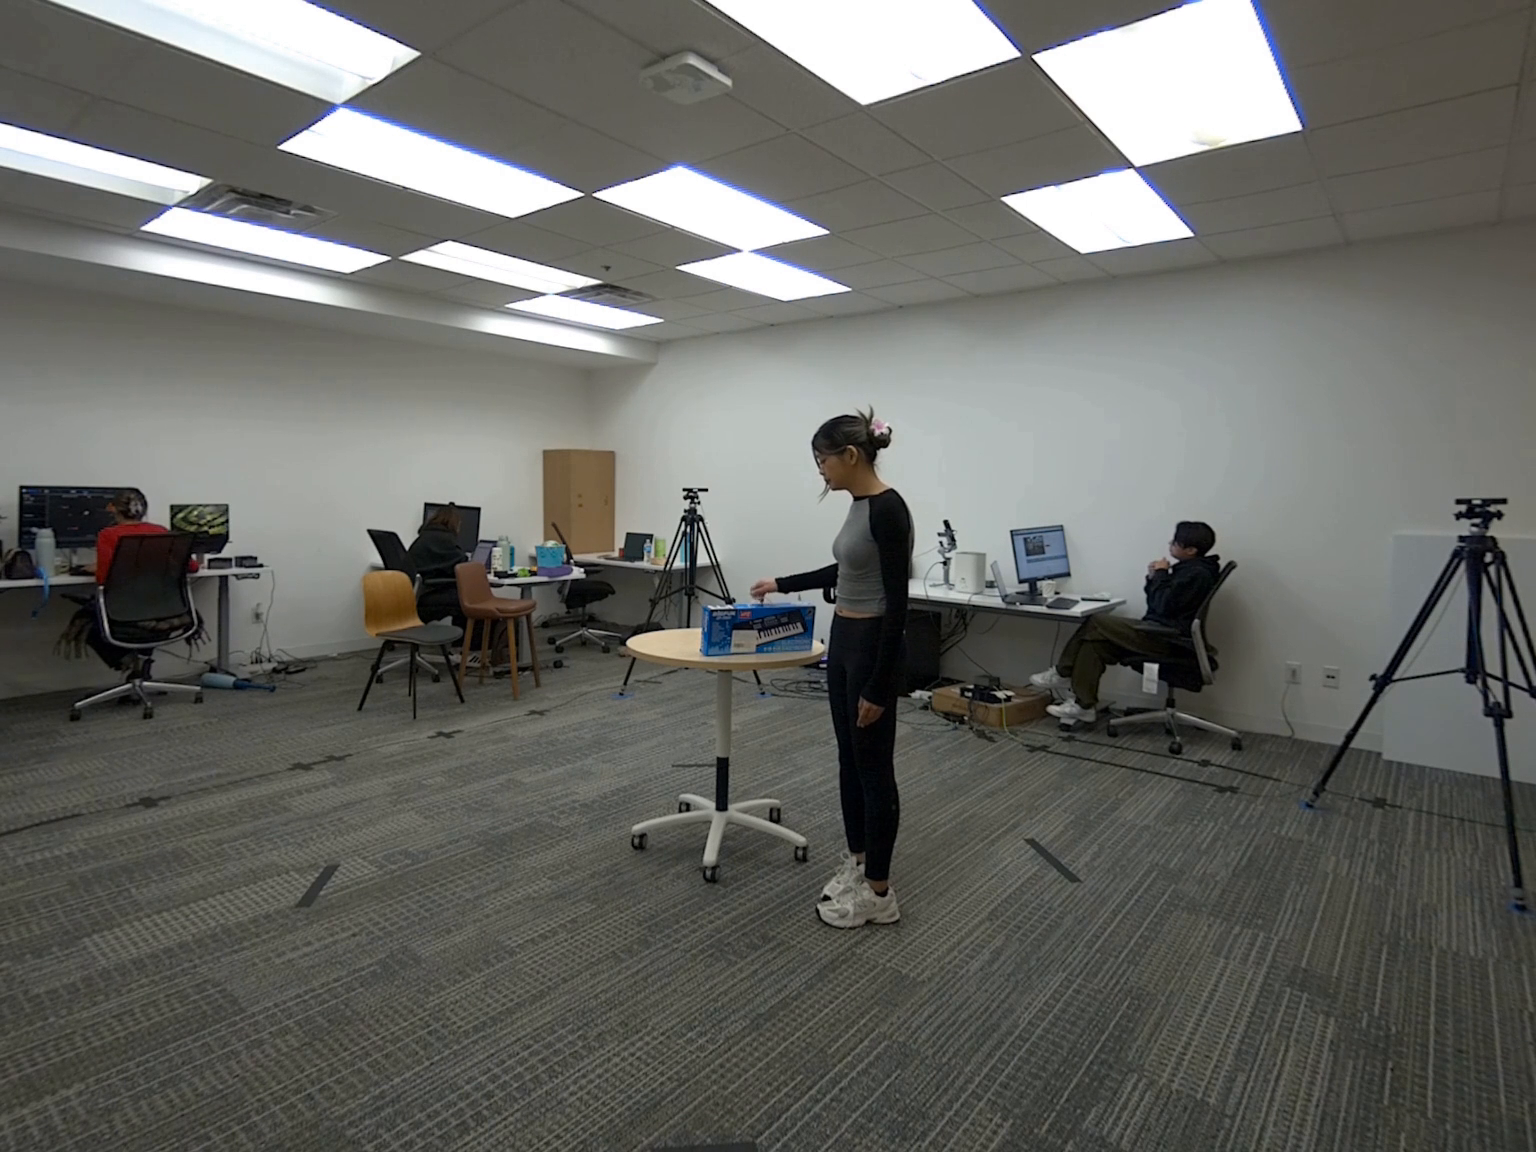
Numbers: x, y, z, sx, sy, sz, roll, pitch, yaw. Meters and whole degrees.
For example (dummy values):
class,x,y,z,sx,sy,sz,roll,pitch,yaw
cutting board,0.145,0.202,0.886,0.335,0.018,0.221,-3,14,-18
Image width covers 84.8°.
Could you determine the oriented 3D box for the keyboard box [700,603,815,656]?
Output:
class,x,y,z,sx,sy,sz,roll,pitch,yaw
keyboard box,-0.040,0.192,3.109,0.426,0.175,0.061,-1,9,-25
